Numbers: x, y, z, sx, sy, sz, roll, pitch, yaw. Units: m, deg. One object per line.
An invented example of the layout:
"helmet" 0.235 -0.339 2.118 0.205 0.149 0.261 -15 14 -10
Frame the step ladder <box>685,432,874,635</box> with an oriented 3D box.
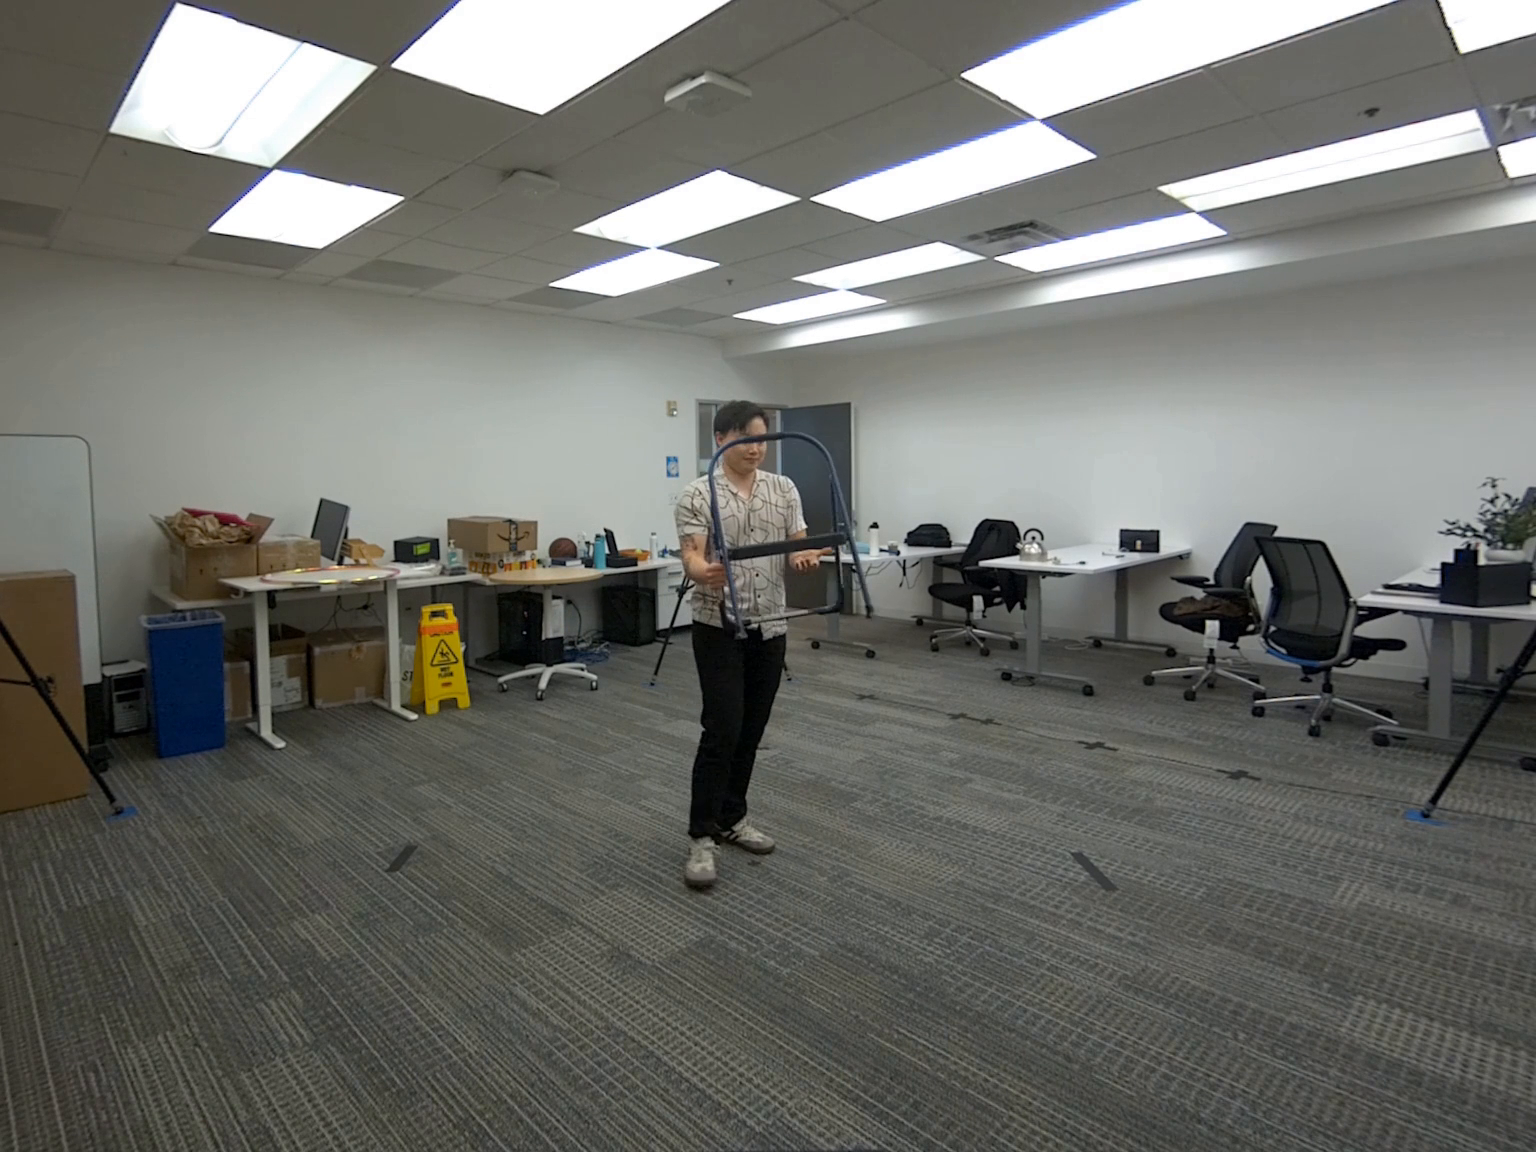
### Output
"step ladder" 0.040 -0.147 2.657 0.427 0.606 0.352 -8 0 -11
